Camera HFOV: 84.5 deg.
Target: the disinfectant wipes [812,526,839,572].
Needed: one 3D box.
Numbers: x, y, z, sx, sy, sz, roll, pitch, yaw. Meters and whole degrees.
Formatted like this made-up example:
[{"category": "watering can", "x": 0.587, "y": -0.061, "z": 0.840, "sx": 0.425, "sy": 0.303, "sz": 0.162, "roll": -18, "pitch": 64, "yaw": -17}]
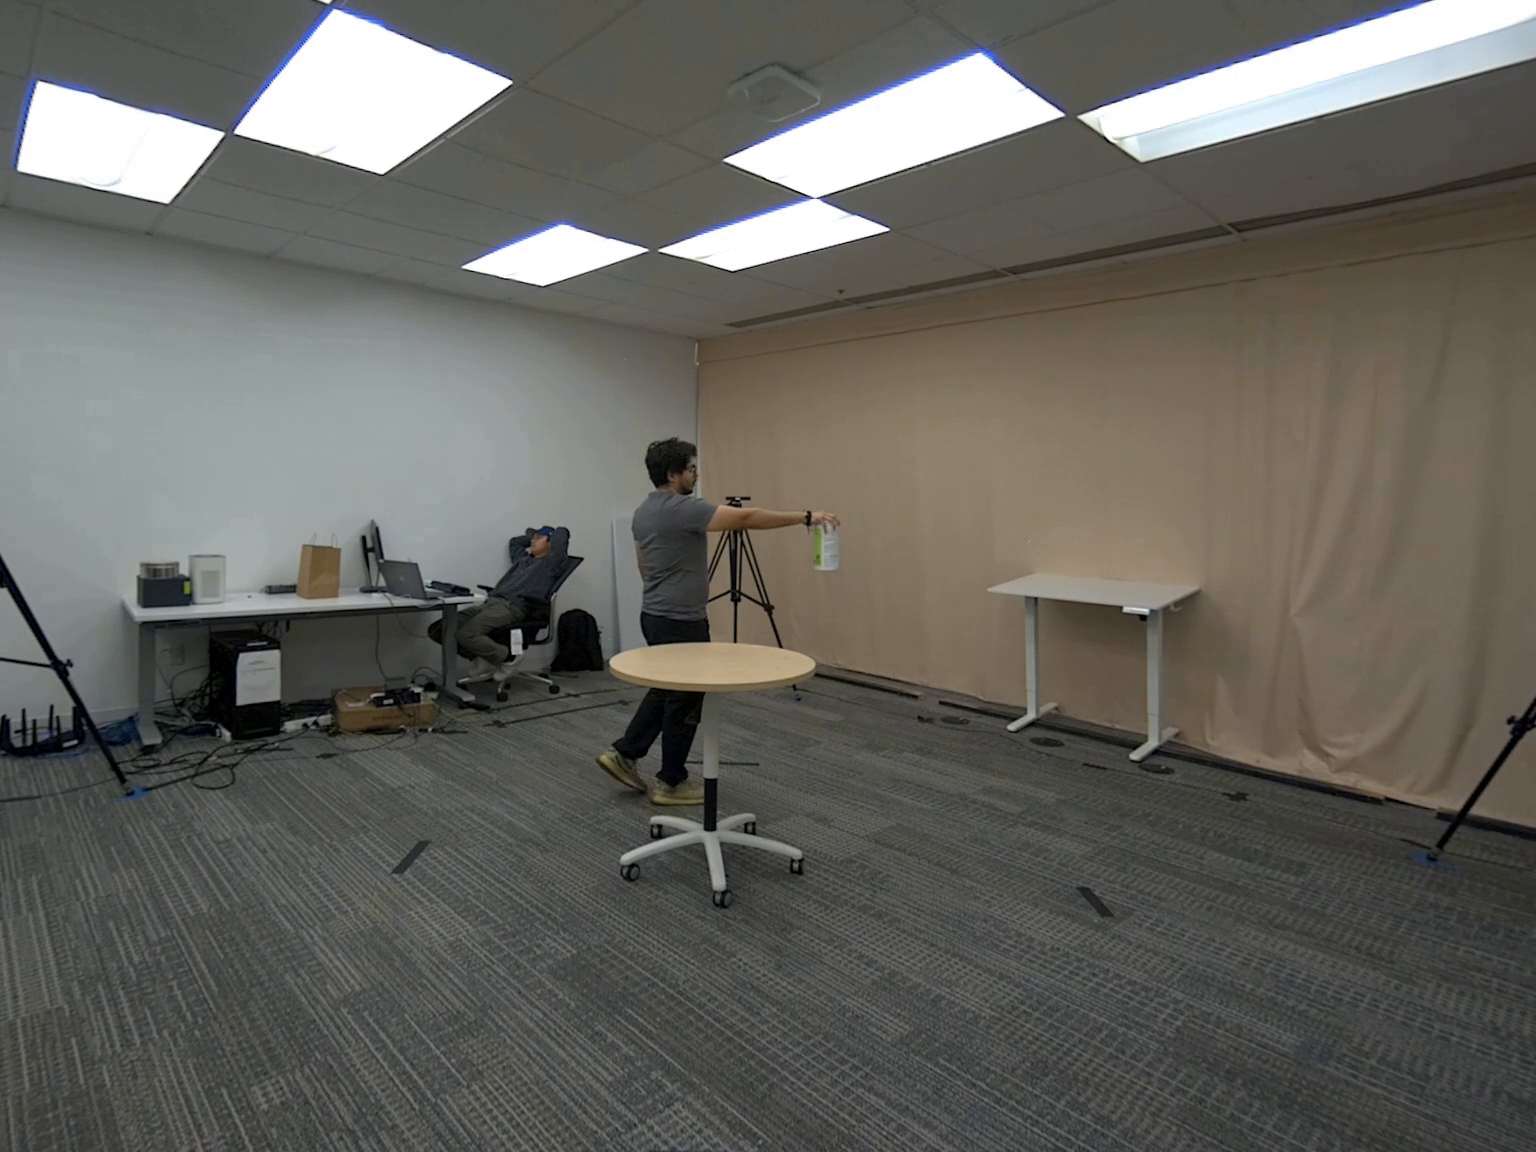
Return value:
[{"category": "disinfectant wipes", "x": 0.243, "y": -0.135, "z": 3.691, "sx": 0.118, "sy": 0.217, "sz": 0.118, "roll": 2, "pitch": 5, "yaw": -2}]
